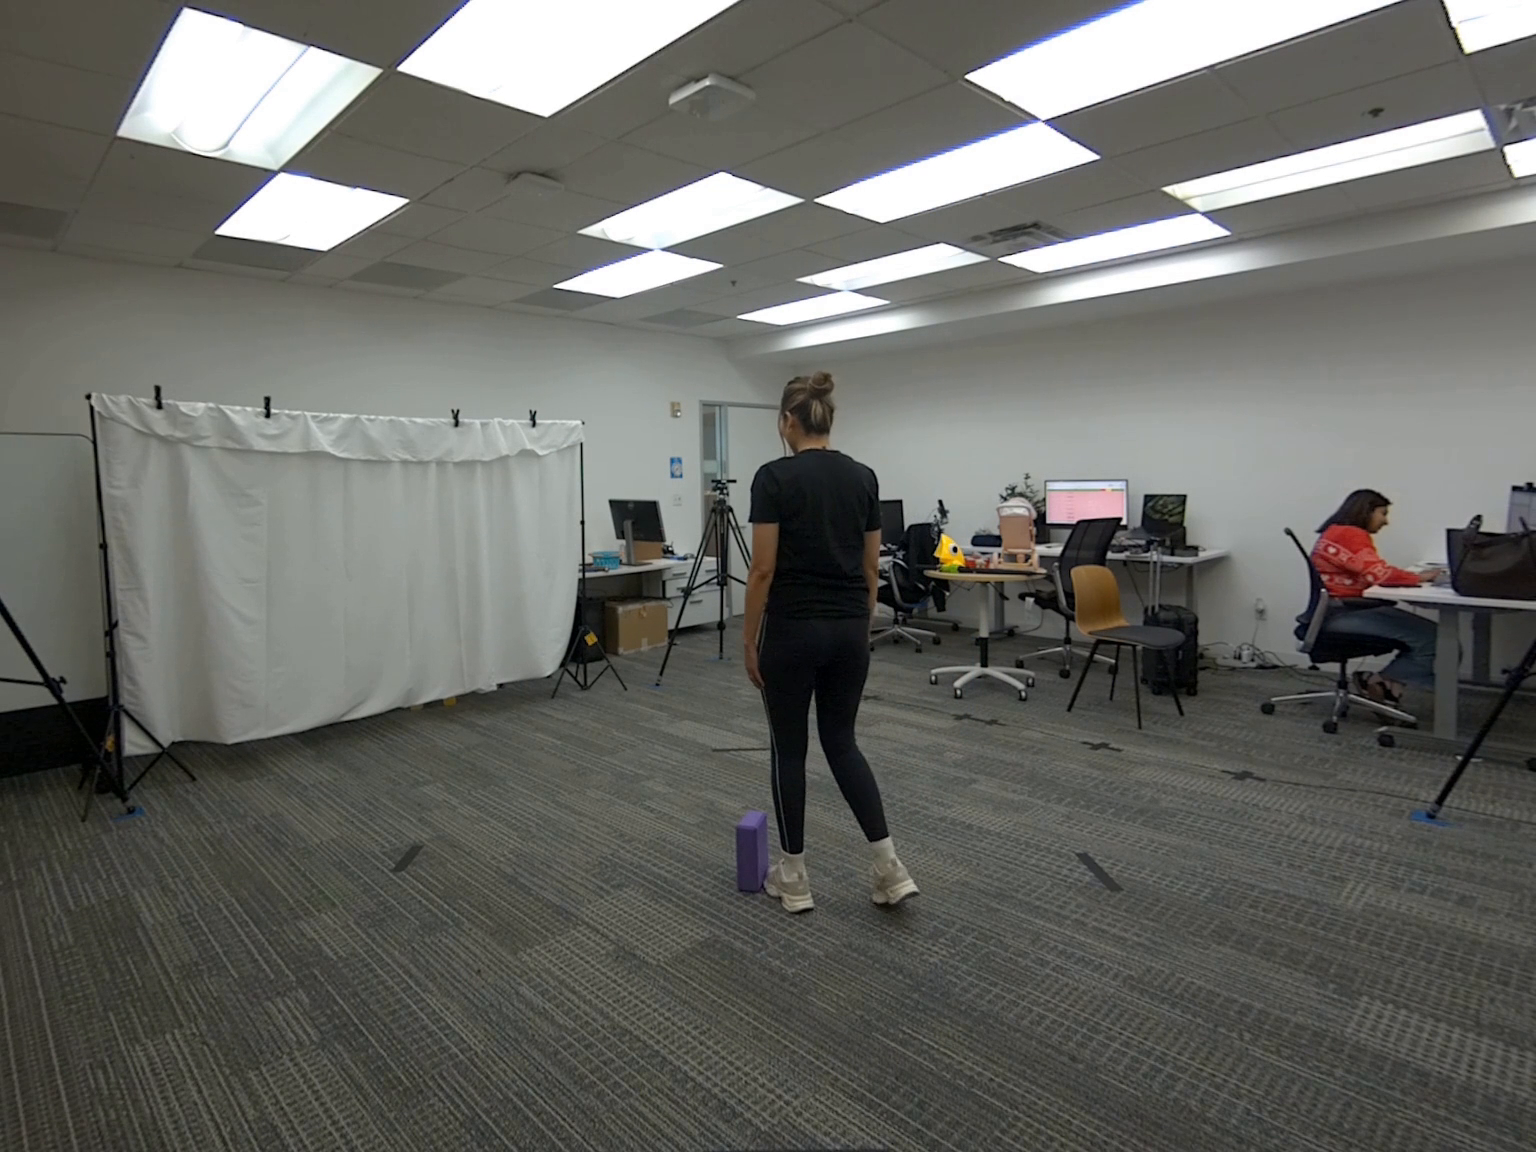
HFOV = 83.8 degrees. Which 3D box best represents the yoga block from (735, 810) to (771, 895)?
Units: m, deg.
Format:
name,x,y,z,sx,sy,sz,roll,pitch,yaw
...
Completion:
name,x,y,z,sx,sy,sz,roll,pitch,yaw
yoga block,-0.050,0.950,2.953,0.078,0.228,0.147,0,5,16
